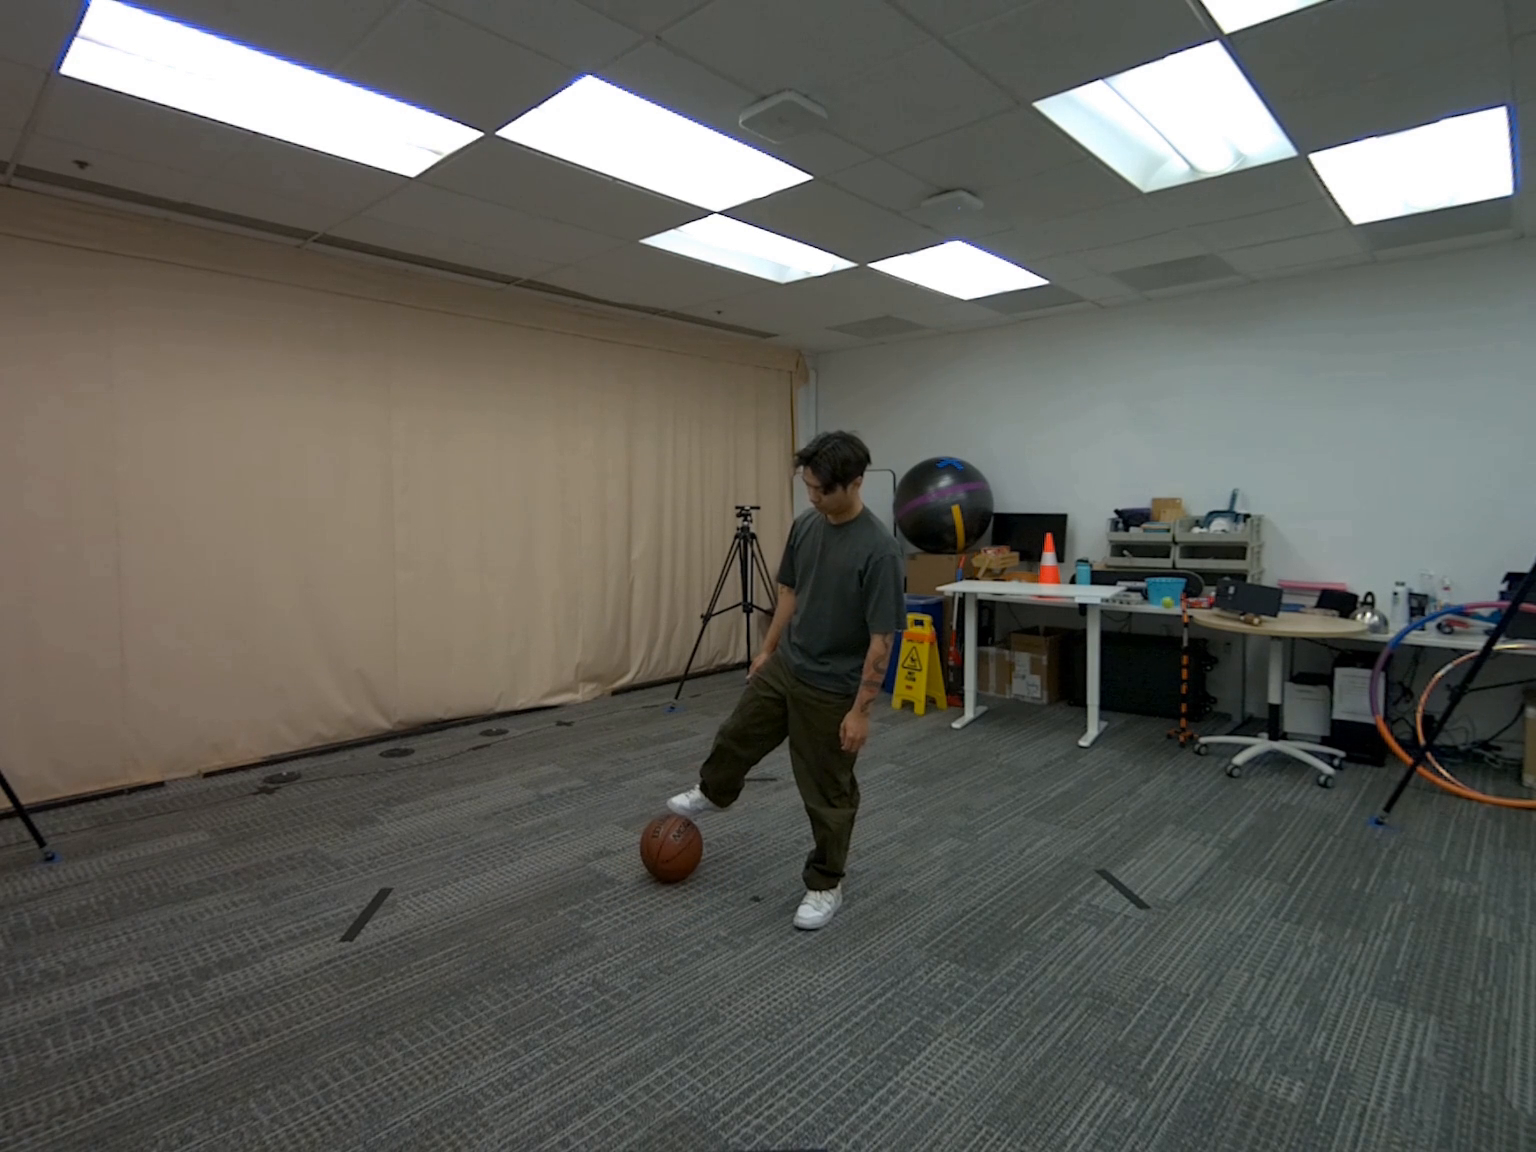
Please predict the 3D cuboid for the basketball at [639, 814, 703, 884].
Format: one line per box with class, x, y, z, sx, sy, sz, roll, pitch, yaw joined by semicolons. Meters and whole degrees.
basketball;-0.357;1.013;3.147;0.236;0.235;0.237;0;4;-2
